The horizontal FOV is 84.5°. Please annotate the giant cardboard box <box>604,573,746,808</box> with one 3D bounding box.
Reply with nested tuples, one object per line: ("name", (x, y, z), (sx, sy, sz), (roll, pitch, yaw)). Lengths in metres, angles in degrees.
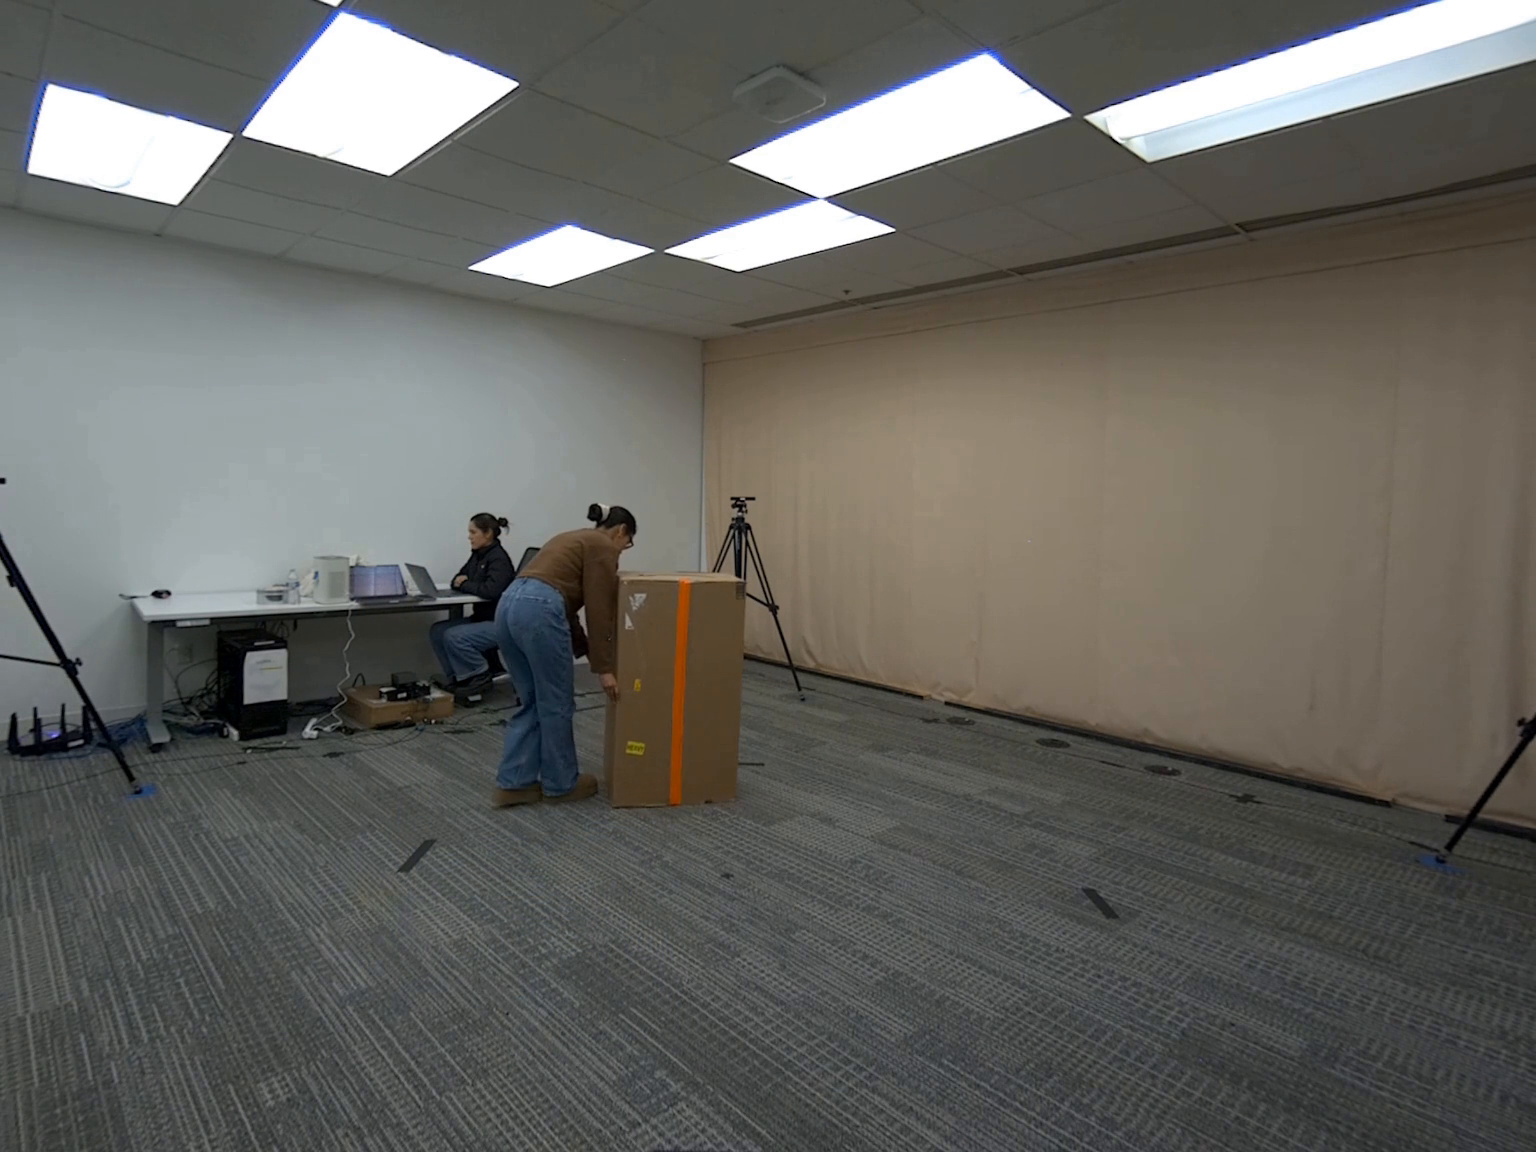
("giant cardboard box", (-0.463, 0.512, 3.997), (0.570, 1.024, 0.432), (2, 3, -16))
